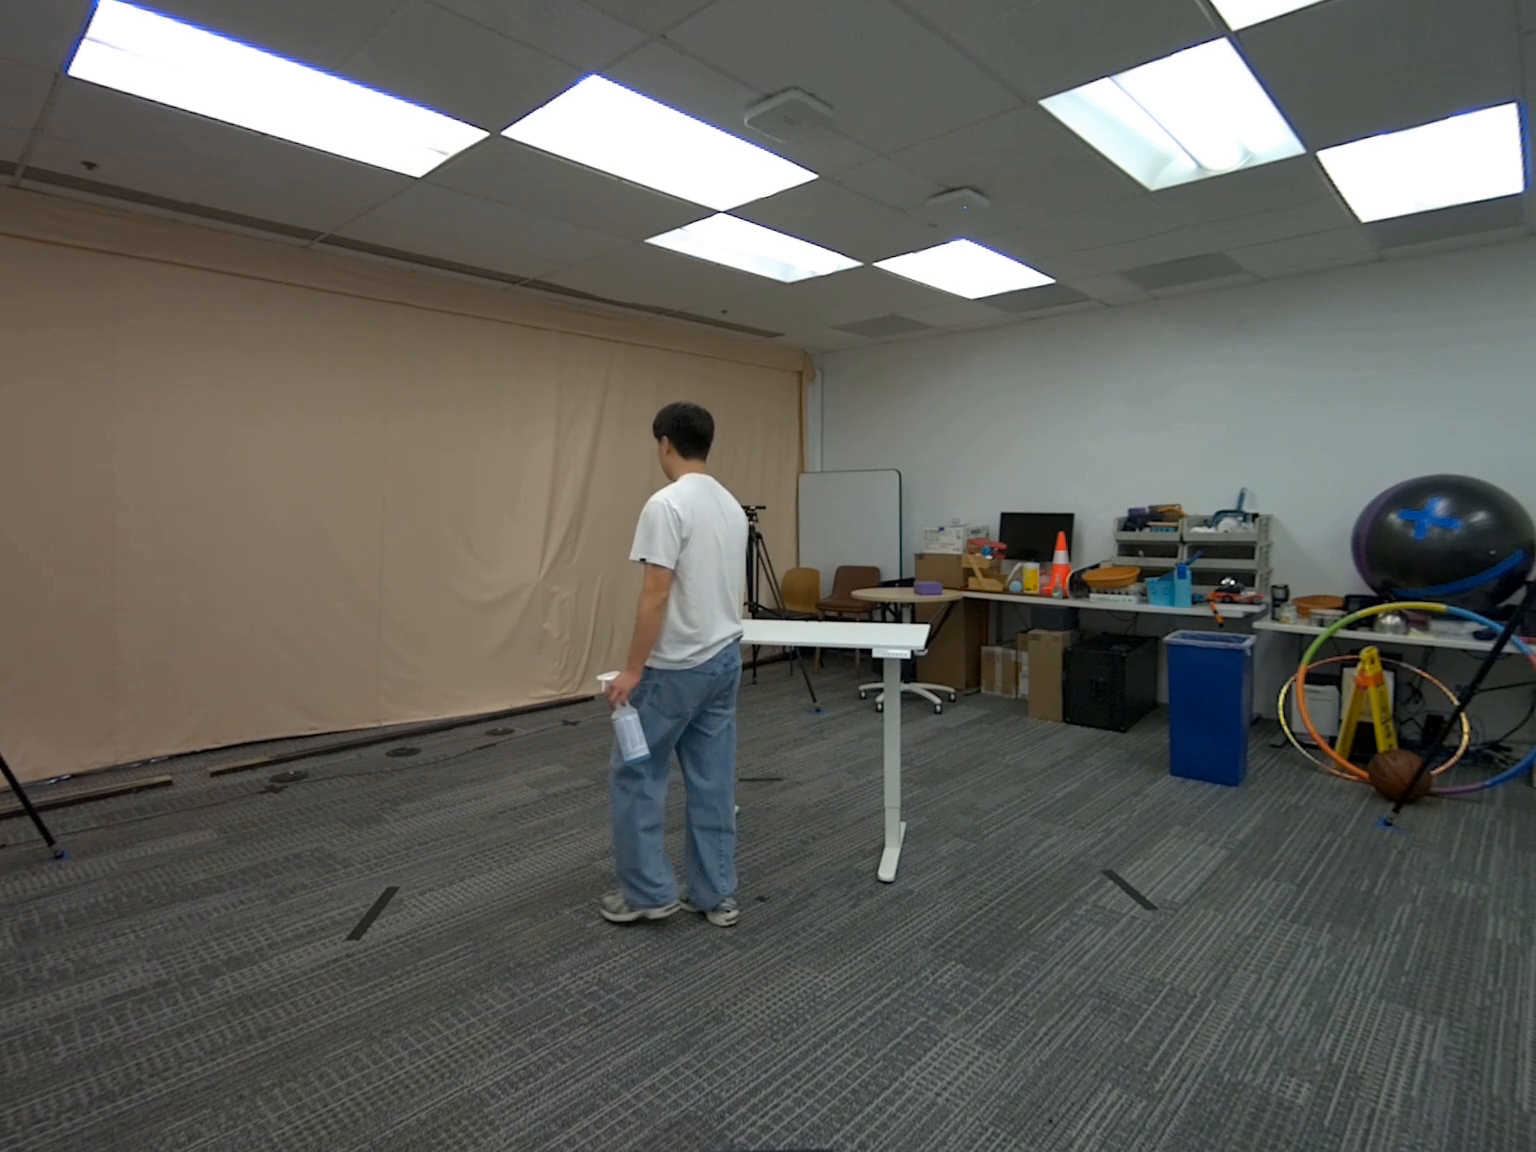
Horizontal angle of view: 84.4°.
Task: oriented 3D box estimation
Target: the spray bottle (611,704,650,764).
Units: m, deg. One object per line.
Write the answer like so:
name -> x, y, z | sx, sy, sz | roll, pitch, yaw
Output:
spray bottle -> -0.452, 0.448, 2.682 | 0.090, 0.300, 0.086 | -18, -11, 3
